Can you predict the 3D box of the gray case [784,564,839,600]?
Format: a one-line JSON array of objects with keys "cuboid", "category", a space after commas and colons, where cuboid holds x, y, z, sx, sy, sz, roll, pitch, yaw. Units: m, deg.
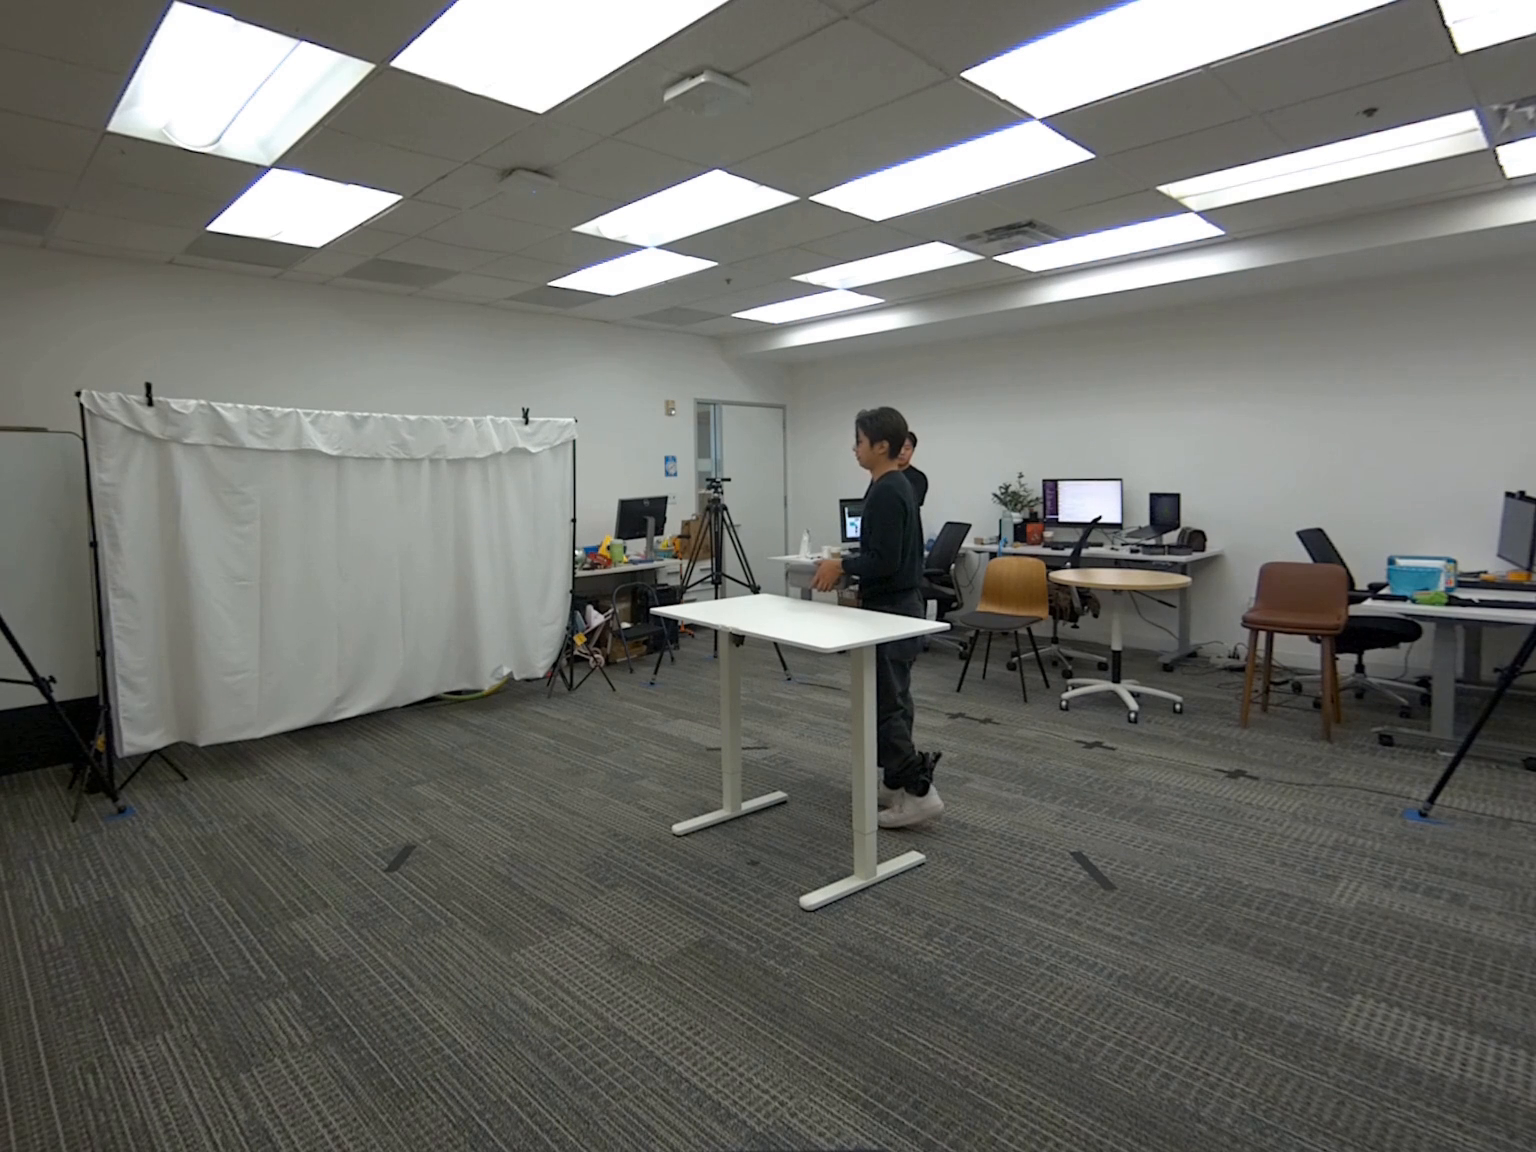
[{"cuboid": [0.238, -0.003, 3.649, 0.265, 0.104, 0.253, 5, 2, 14], "category": "gray case"}]
